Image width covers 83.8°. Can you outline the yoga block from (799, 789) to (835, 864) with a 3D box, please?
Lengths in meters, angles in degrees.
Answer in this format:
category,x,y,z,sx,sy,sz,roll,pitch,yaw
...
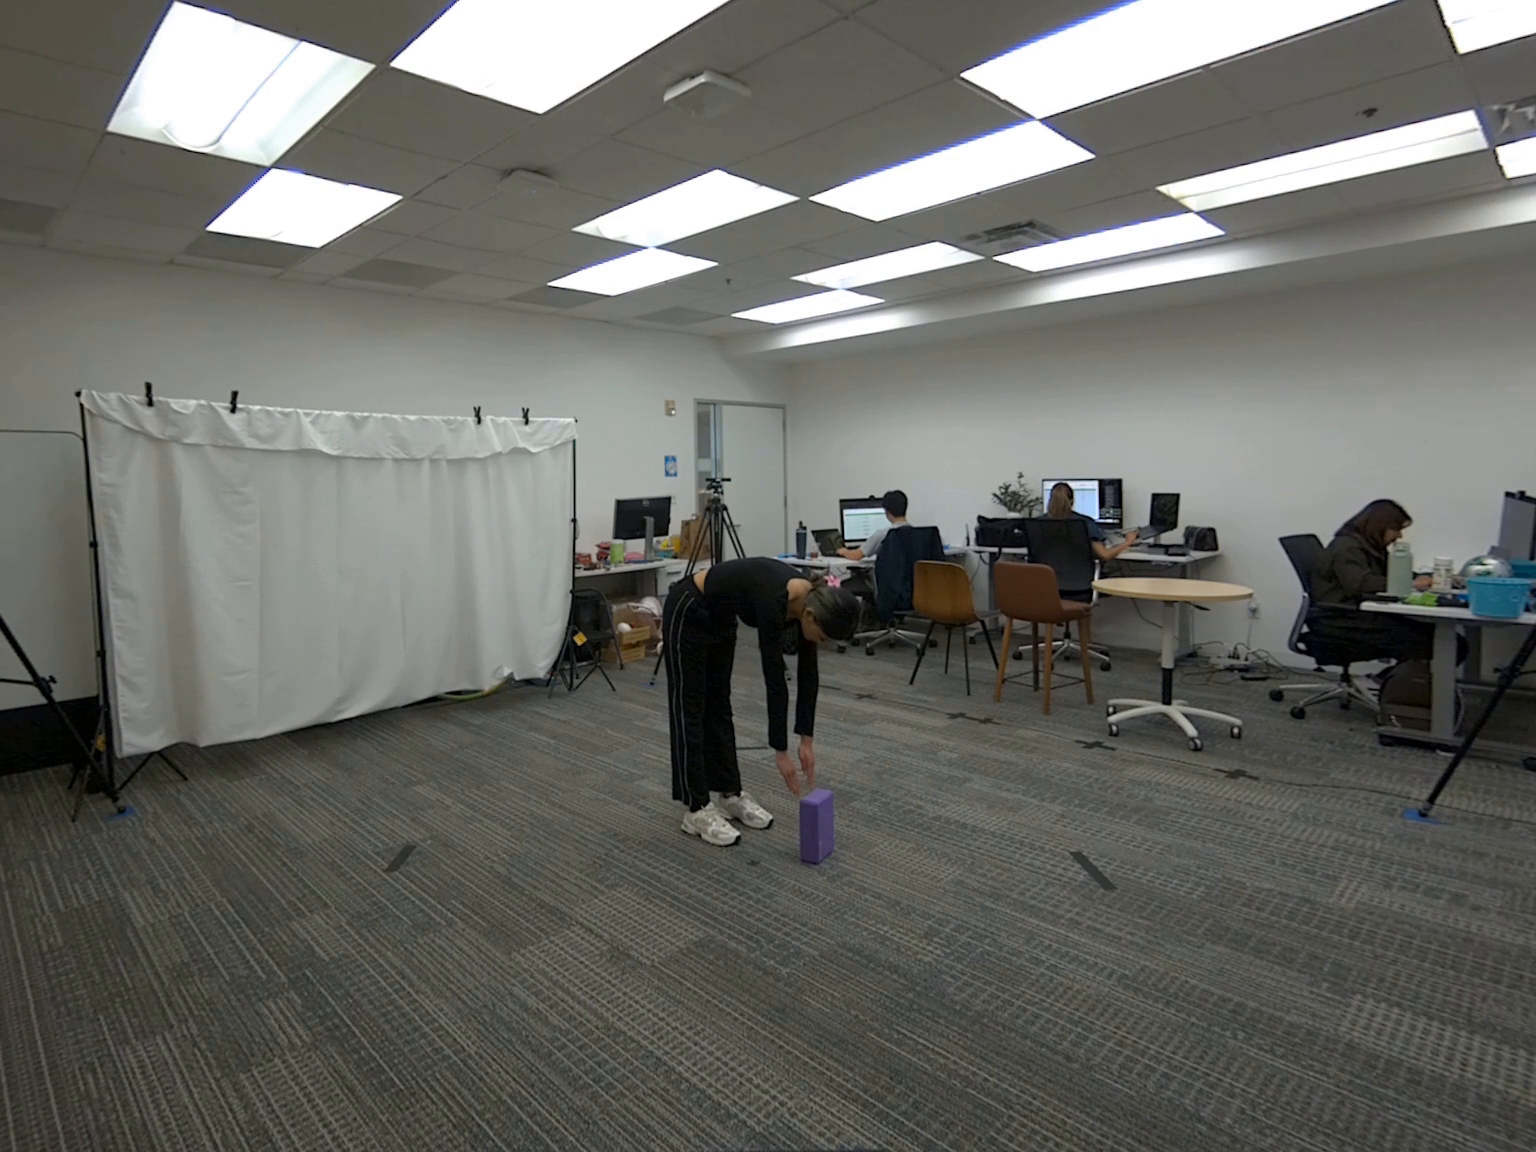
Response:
category,x,y,z,sx,sy,sz,roll,pitch,yaw
yoga block,0.183,0.918,3.150,0.078,0.229,0.146,0,3,28
